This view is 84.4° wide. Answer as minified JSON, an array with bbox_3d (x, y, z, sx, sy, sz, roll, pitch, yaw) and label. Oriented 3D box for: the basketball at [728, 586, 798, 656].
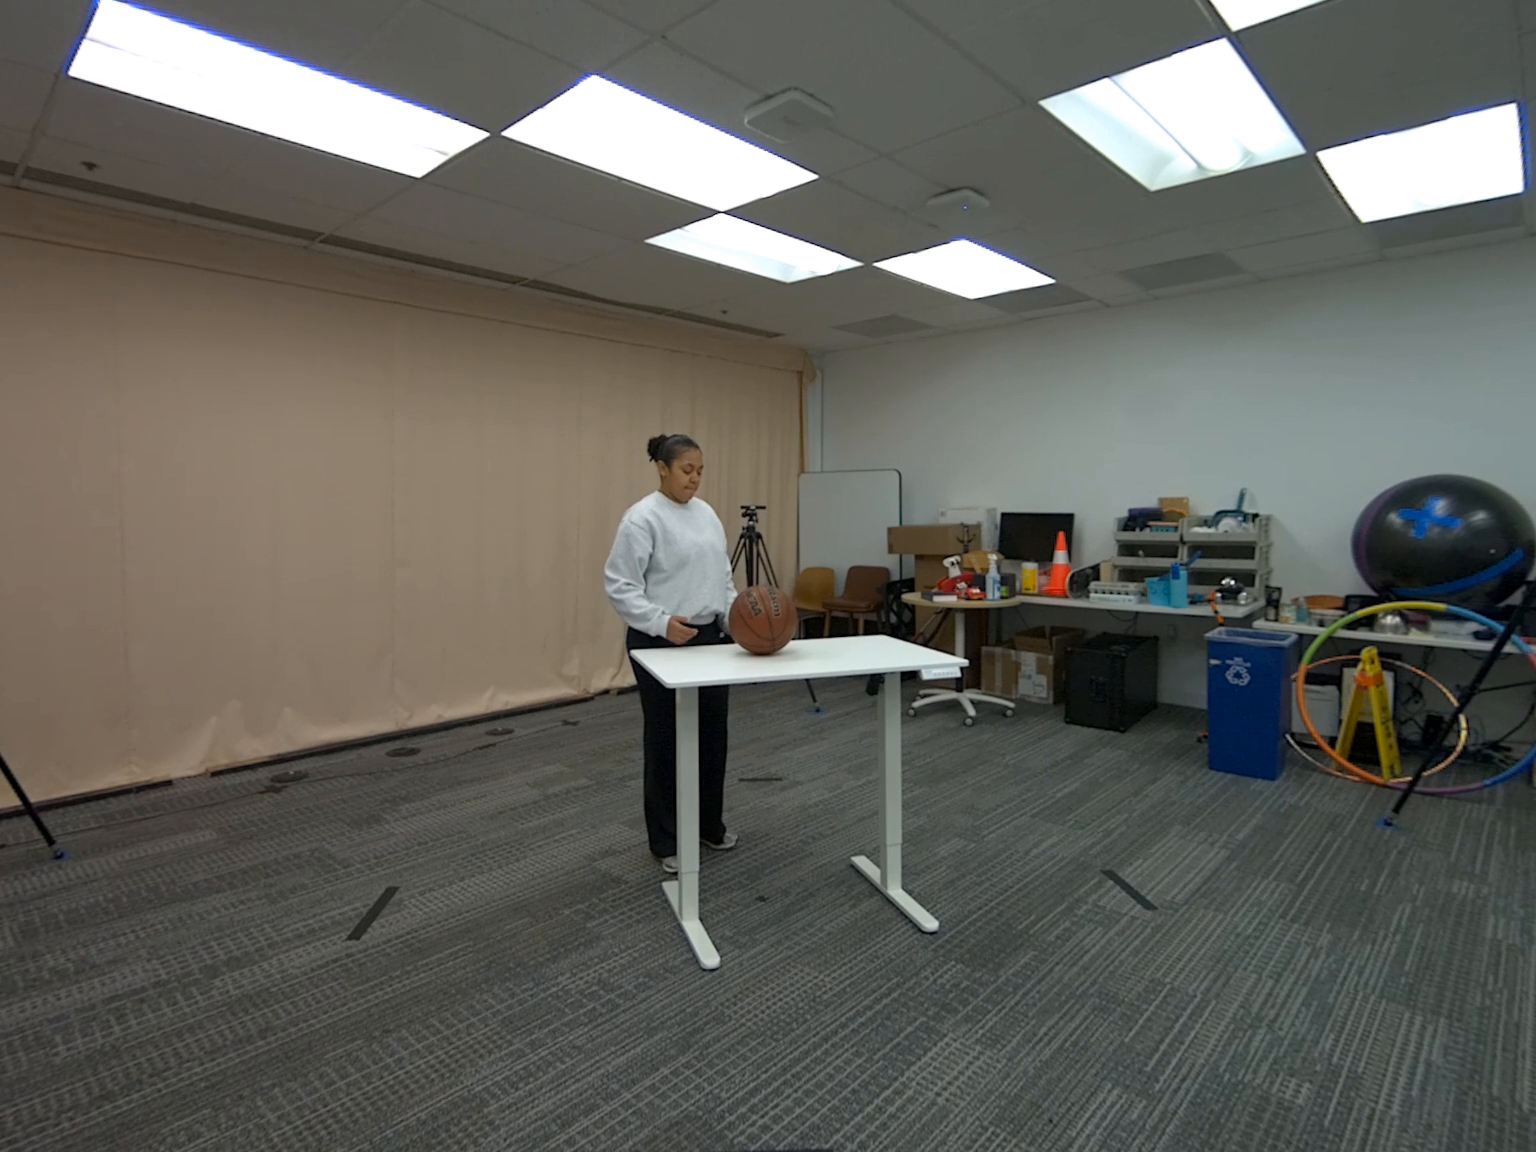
[{"bbox_3d":[-0.012,0.150,2.897,0.236,0.235,0.237,0,4,-2],"label":"basketball"}]
